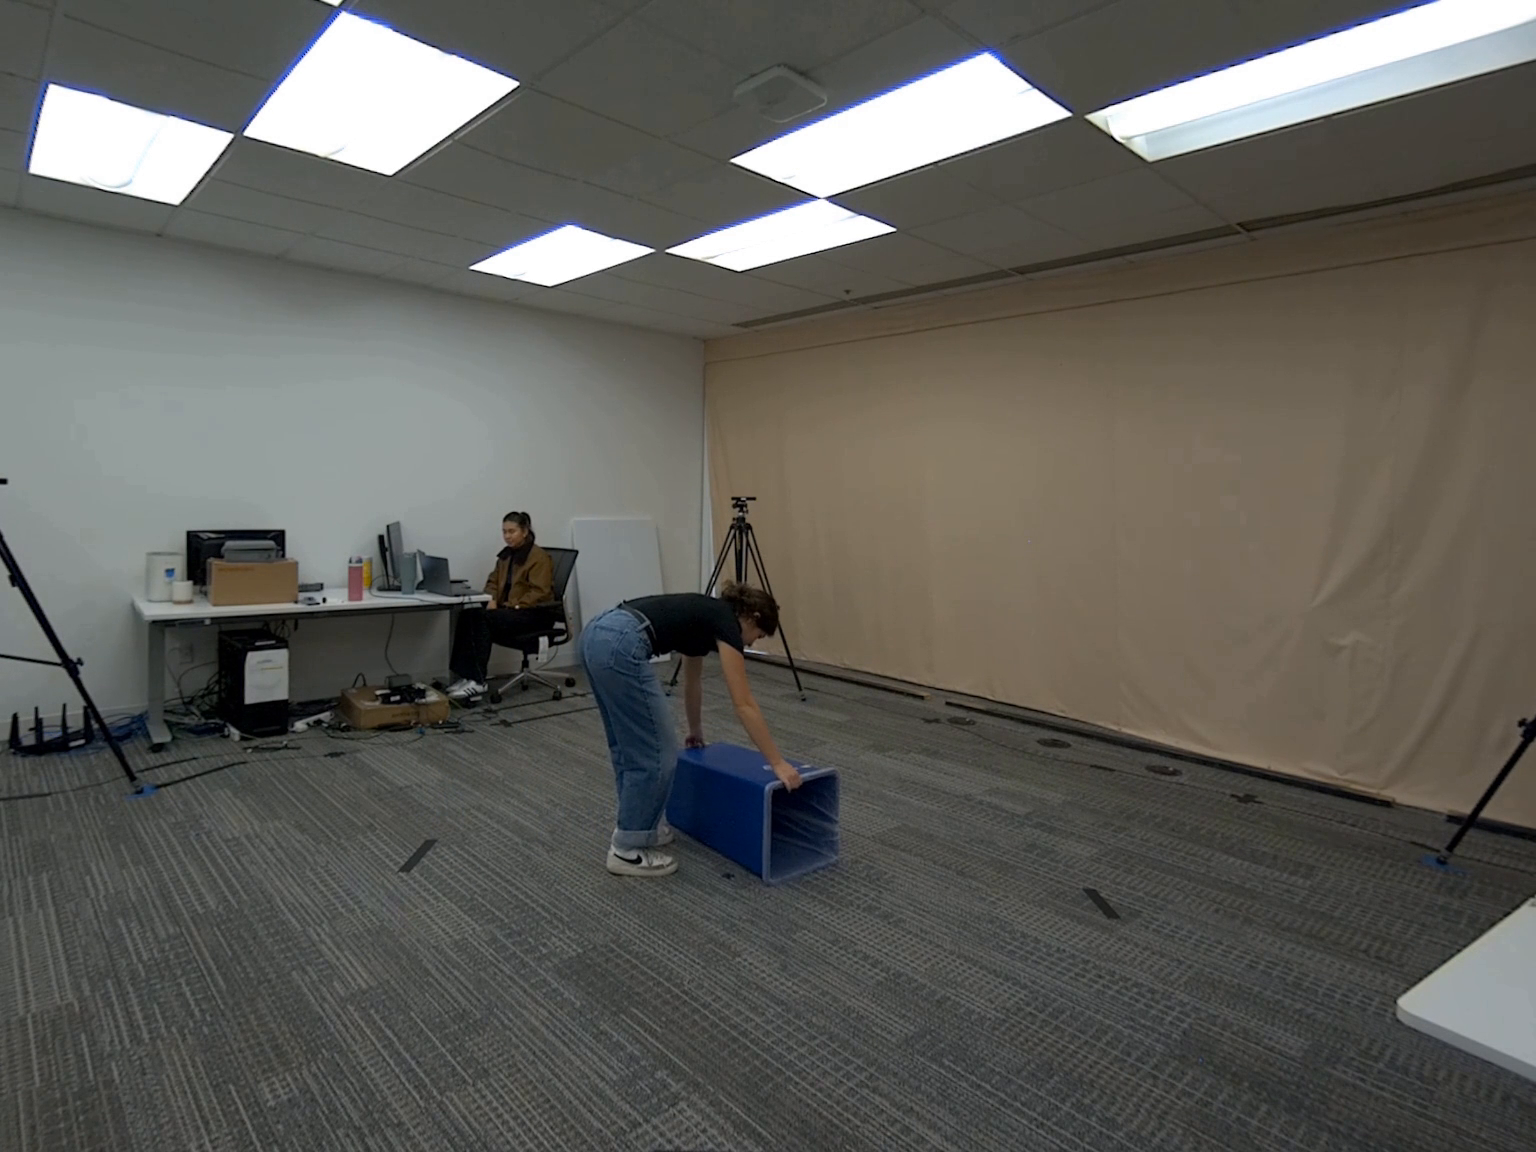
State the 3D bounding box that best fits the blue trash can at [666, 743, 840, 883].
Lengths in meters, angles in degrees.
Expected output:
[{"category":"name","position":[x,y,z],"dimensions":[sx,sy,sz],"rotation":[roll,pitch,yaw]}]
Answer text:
[{"category":"blue trash can","position":[-0.099,0.918,3.403],"dimensions":[0.370,0.374,0.730],"rotation":[-3,3,-38]}]
